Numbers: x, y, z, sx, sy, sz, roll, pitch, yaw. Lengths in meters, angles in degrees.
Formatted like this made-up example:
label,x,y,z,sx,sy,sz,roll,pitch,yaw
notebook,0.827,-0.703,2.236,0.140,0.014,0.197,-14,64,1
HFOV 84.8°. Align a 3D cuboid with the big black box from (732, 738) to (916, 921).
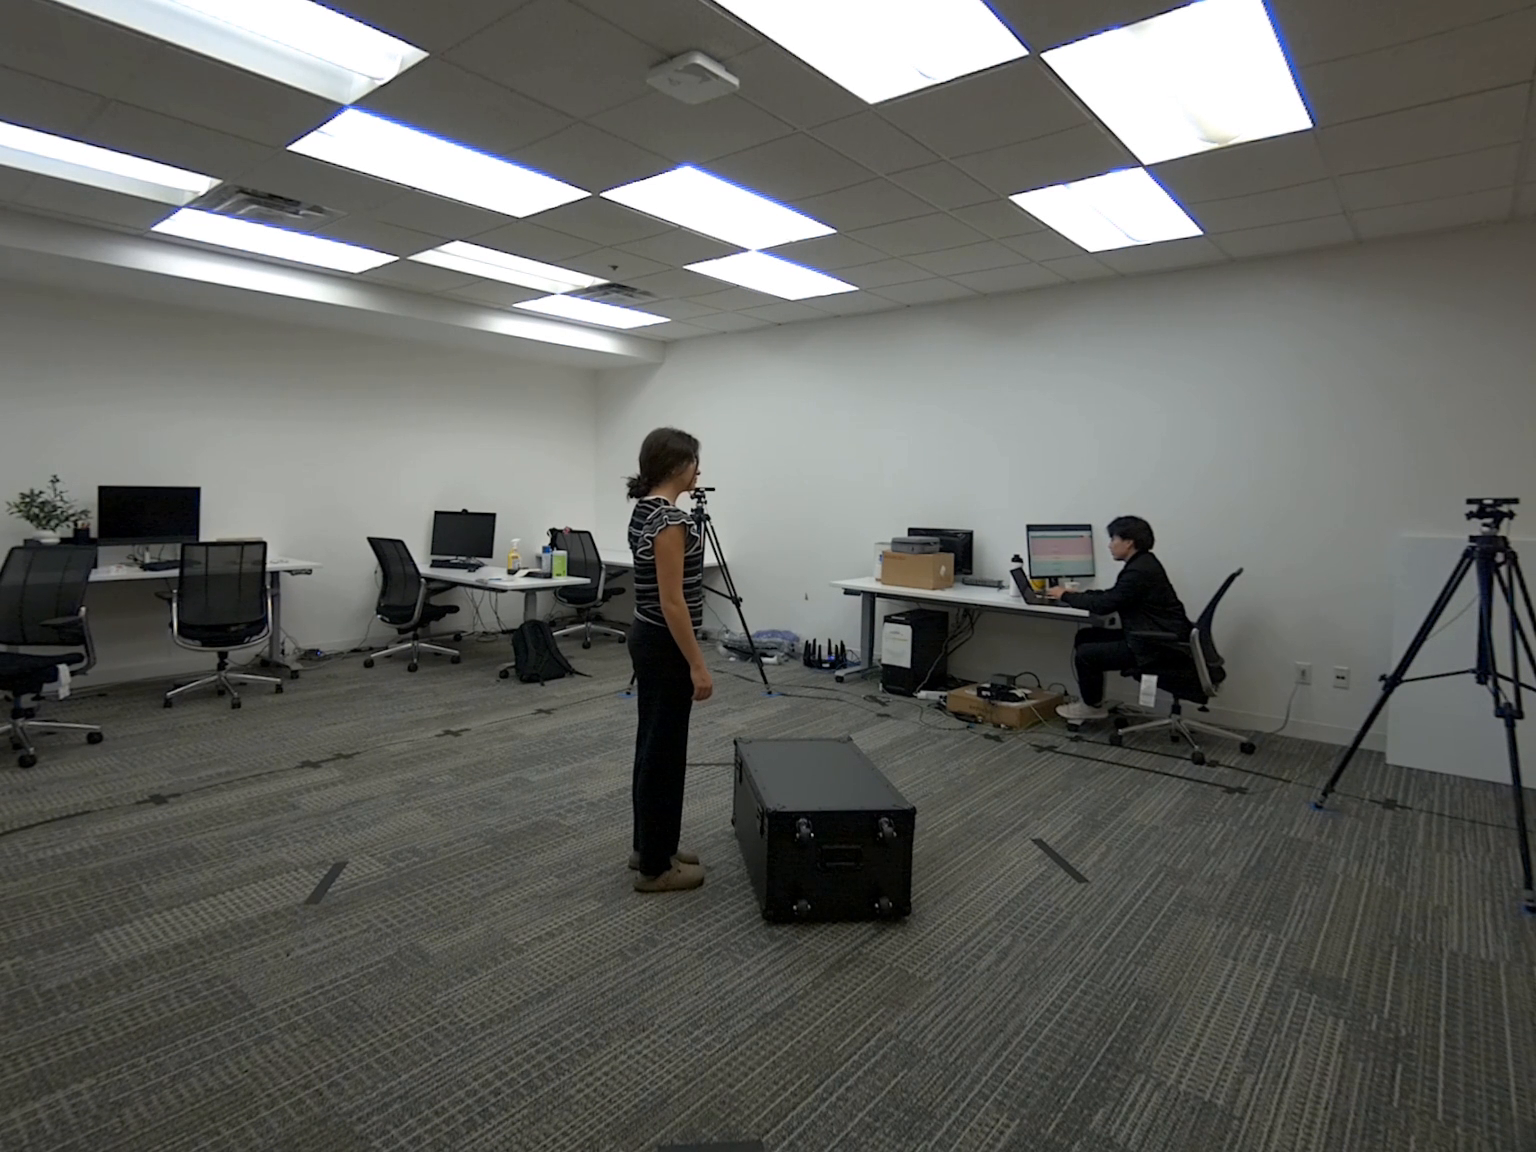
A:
label,x,y,z,sx,sy,sz,roll,pitch,yaw
big black box,0.159,0.886,3.065,0.516,0.395,0.873,0,5,-10
